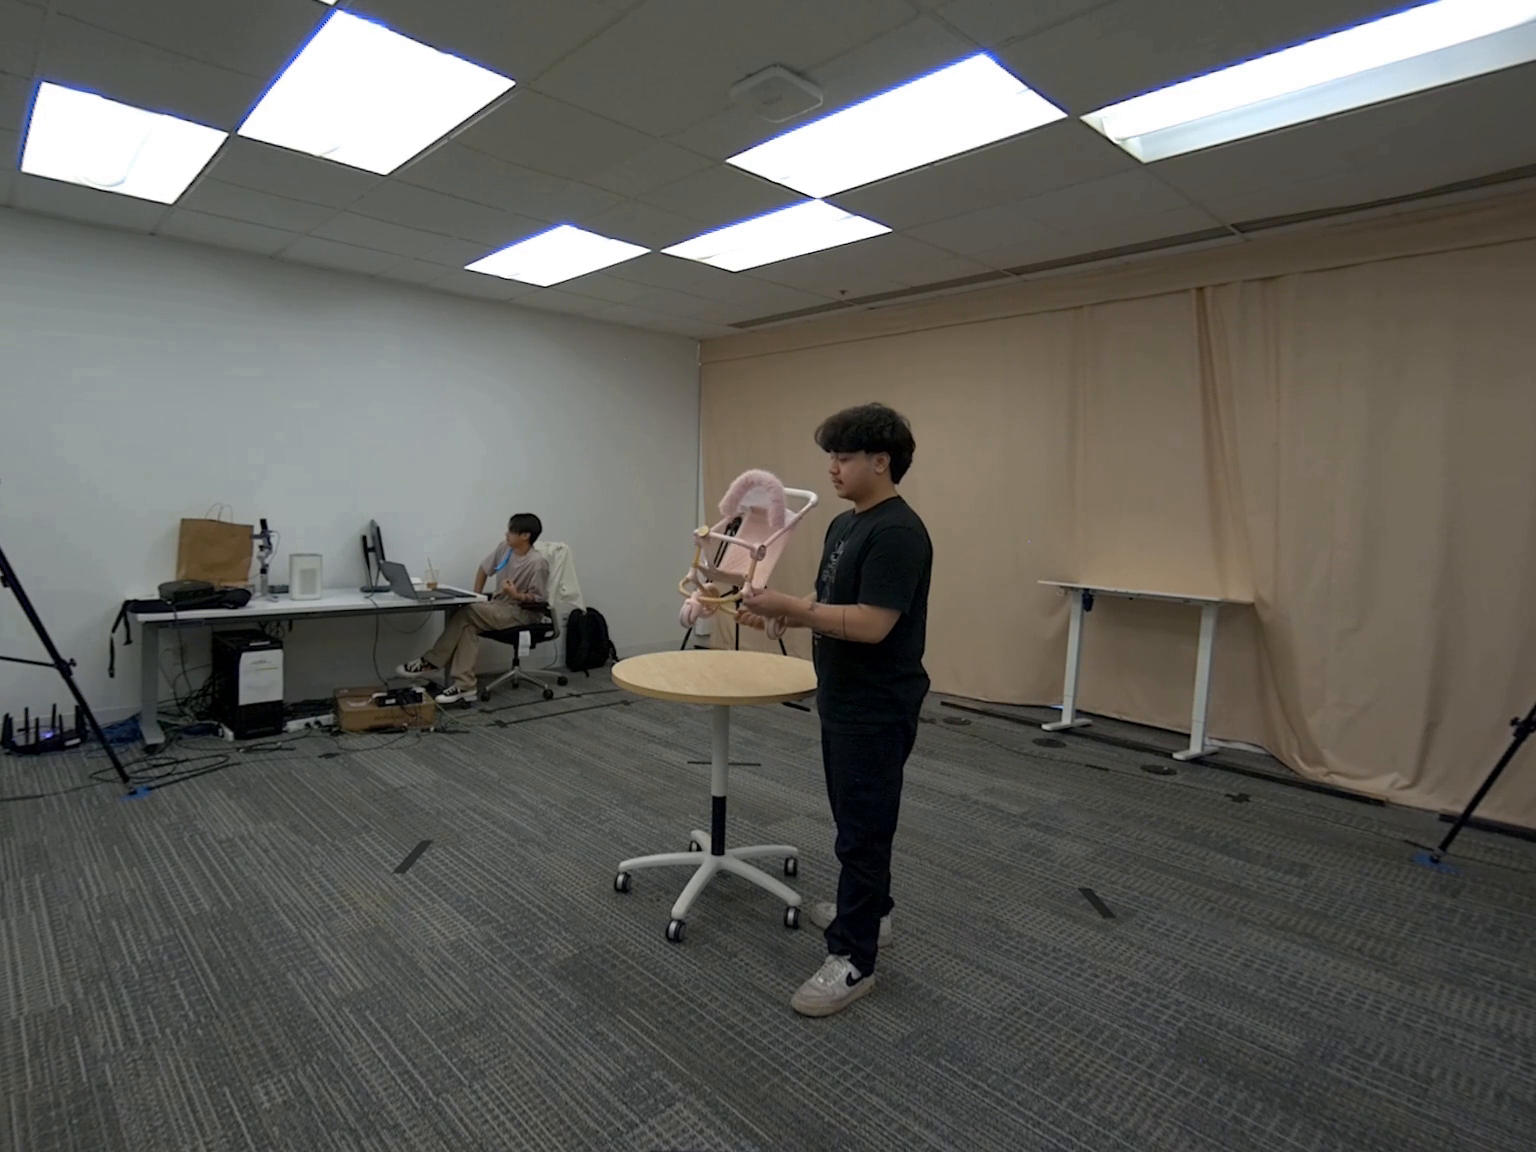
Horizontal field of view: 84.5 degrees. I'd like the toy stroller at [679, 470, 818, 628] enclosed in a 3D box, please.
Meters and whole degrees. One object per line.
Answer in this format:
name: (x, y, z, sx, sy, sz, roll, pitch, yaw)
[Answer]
toy stroller: (-0.079, -0.066, 2.403, 0.289, 0.537, 0.331, 13, -13, 36)
